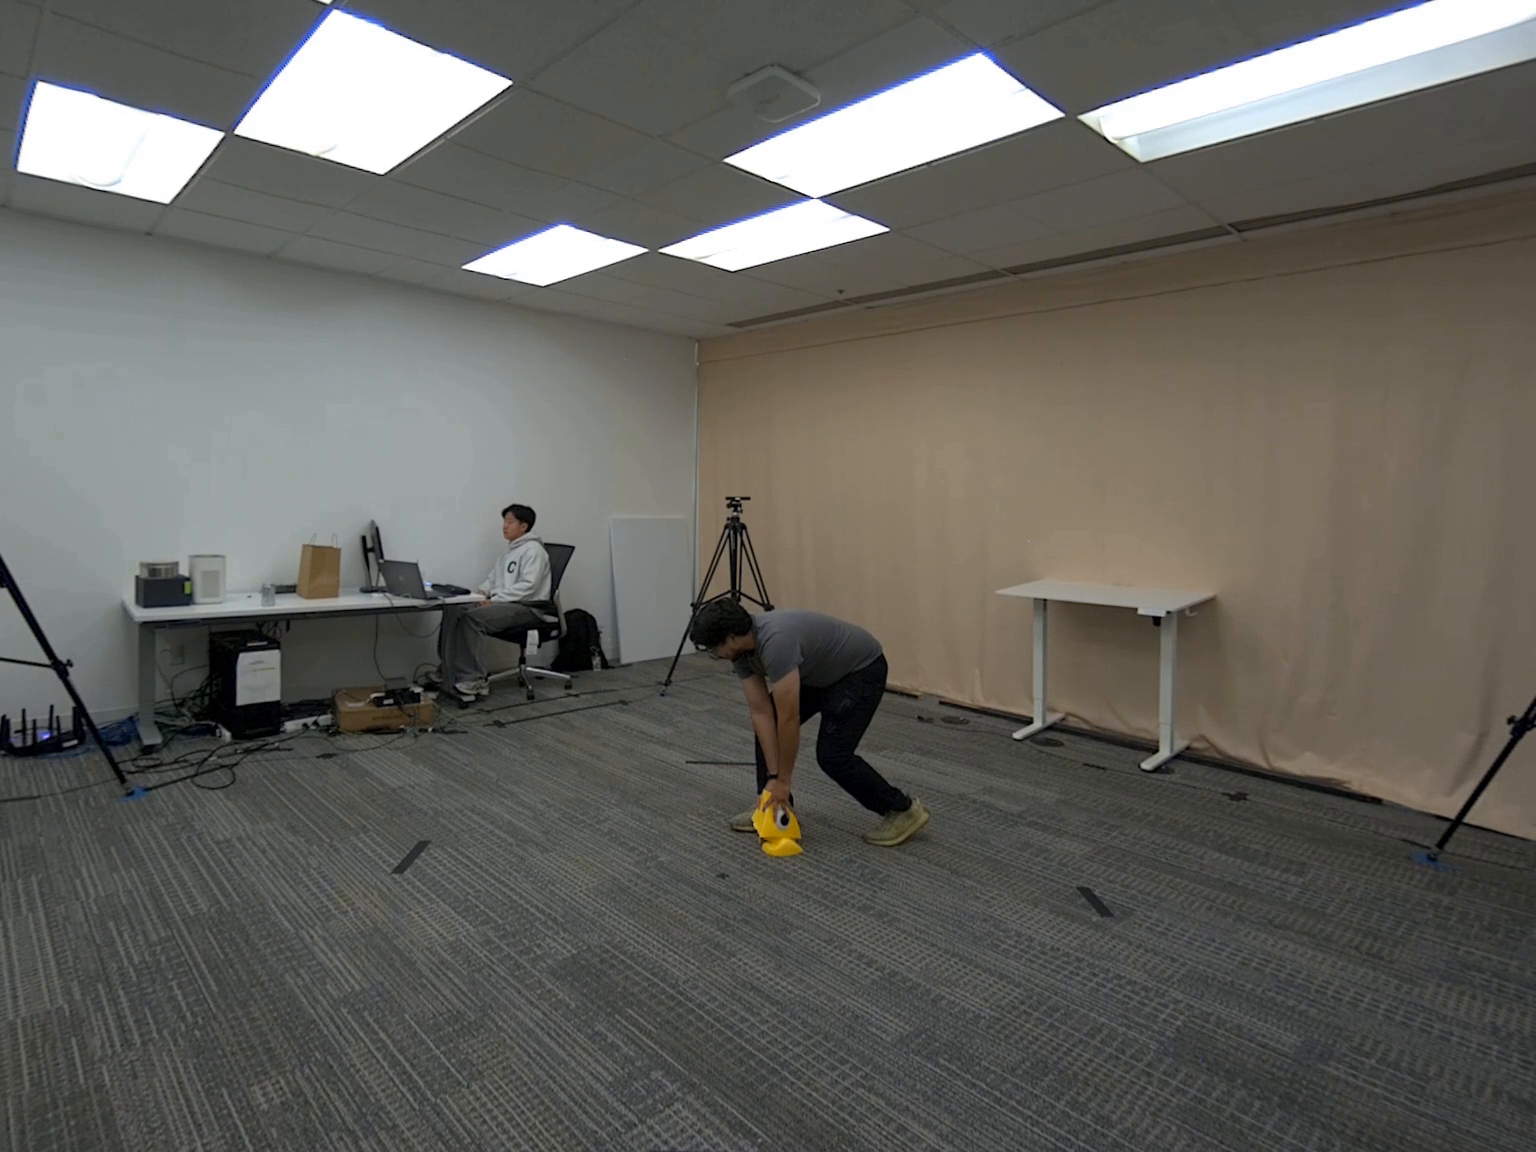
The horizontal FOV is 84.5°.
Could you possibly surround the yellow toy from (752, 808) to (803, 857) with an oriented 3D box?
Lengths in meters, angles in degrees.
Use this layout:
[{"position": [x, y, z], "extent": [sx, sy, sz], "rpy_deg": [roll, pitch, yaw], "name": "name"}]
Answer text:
[{"position": [0.027, 0.975, 3.389], "extent": [0.191, 0.230, 0.207], "rpy_deg": [1, 3, -10], "name": "yellow toy"}]
